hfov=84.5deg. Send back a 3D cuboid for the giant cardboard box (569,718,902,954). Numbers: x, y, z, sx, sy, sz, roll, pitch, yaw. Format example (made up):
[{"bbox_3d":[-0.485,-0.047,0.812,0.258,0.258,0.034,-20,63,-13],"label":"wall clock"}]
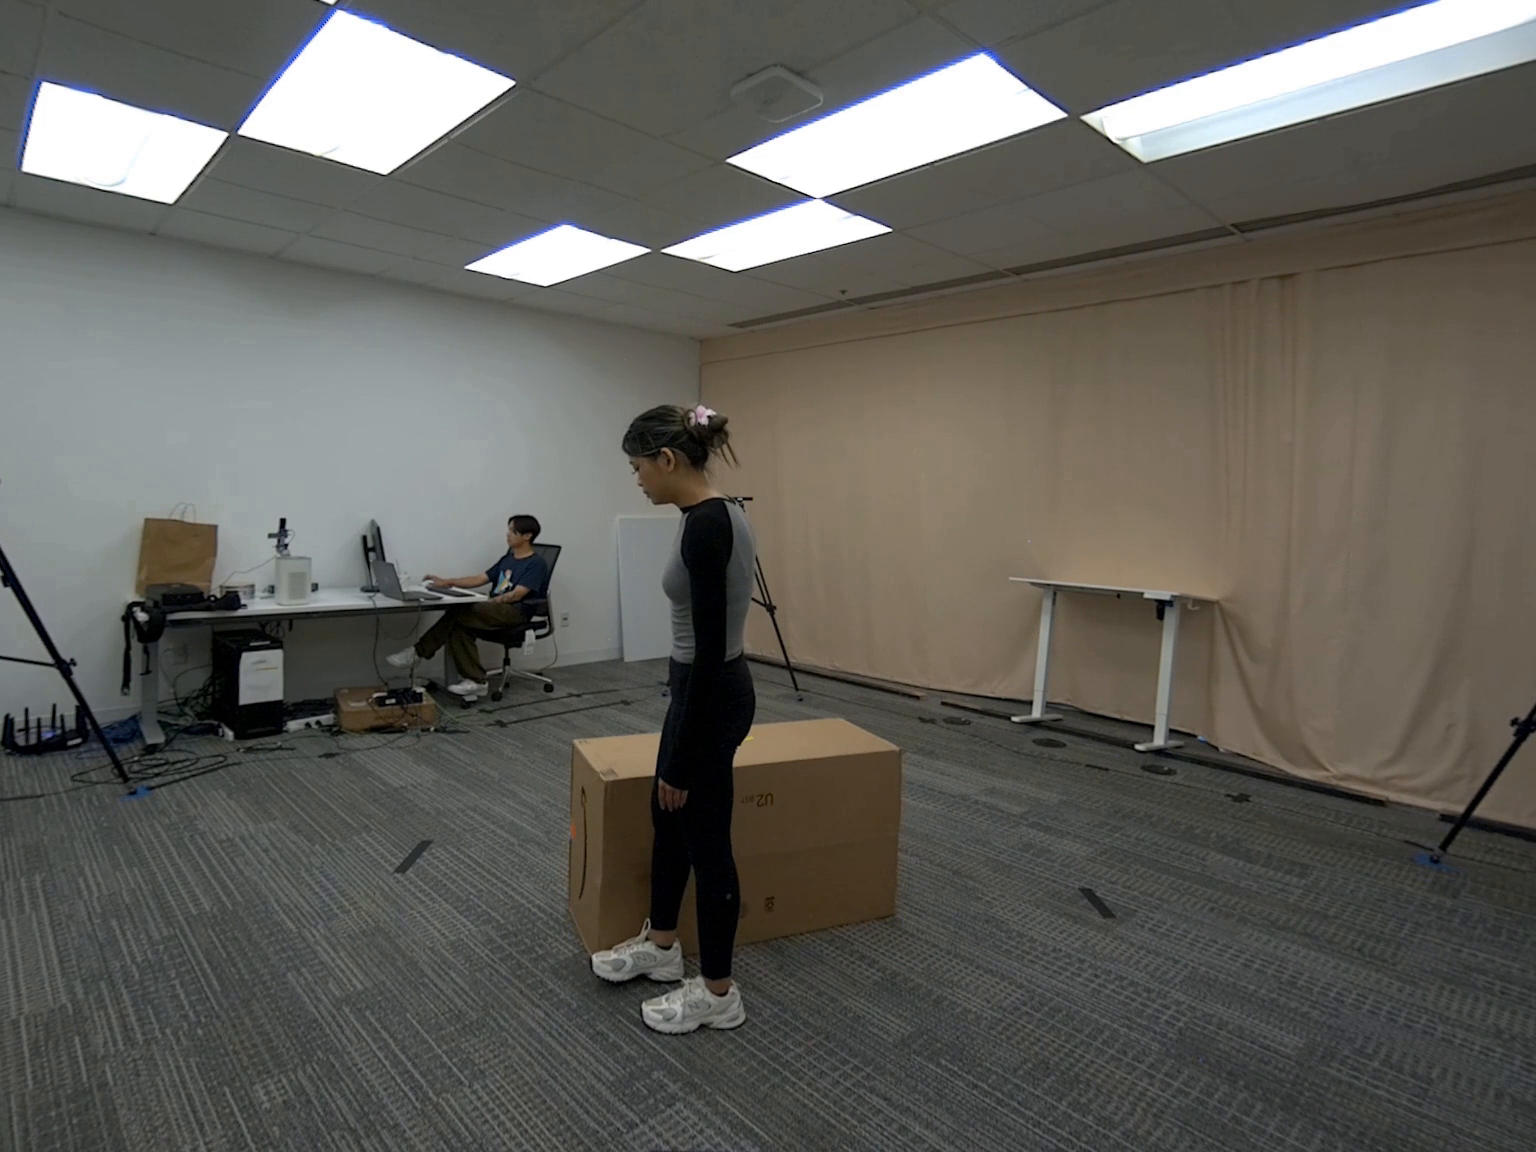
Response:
[{"bbox_3d":[-0.115,0.846,2.819,1.008,0.576,0.435,-1,5,-23],"label":"giant cardboard box"}]
